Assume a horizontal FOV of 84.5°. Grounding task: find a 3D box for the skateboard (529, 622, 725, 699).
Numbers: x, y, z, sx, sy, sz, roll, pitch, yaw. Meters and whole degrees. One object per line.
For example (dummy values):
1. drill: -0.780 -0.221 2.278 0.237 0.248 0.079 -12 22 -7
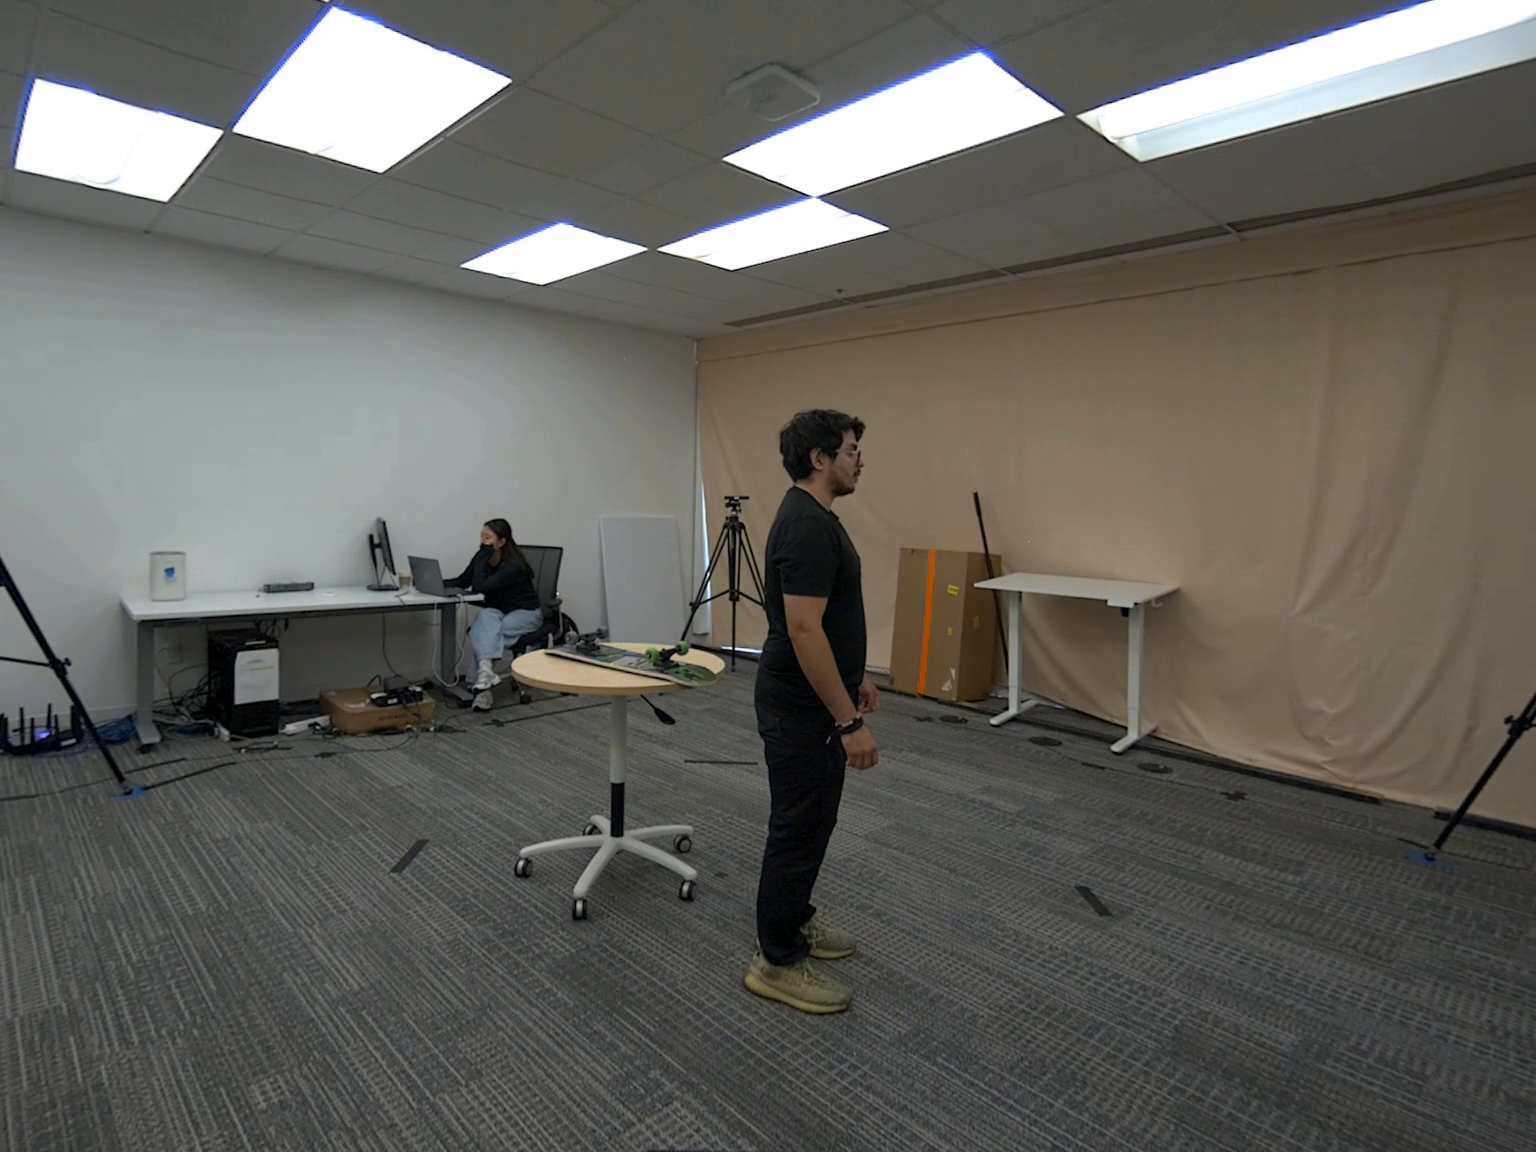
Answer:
1. skateboard: -0.523 0.284 3.005 0.806 0.110 0.189 8 7 38
